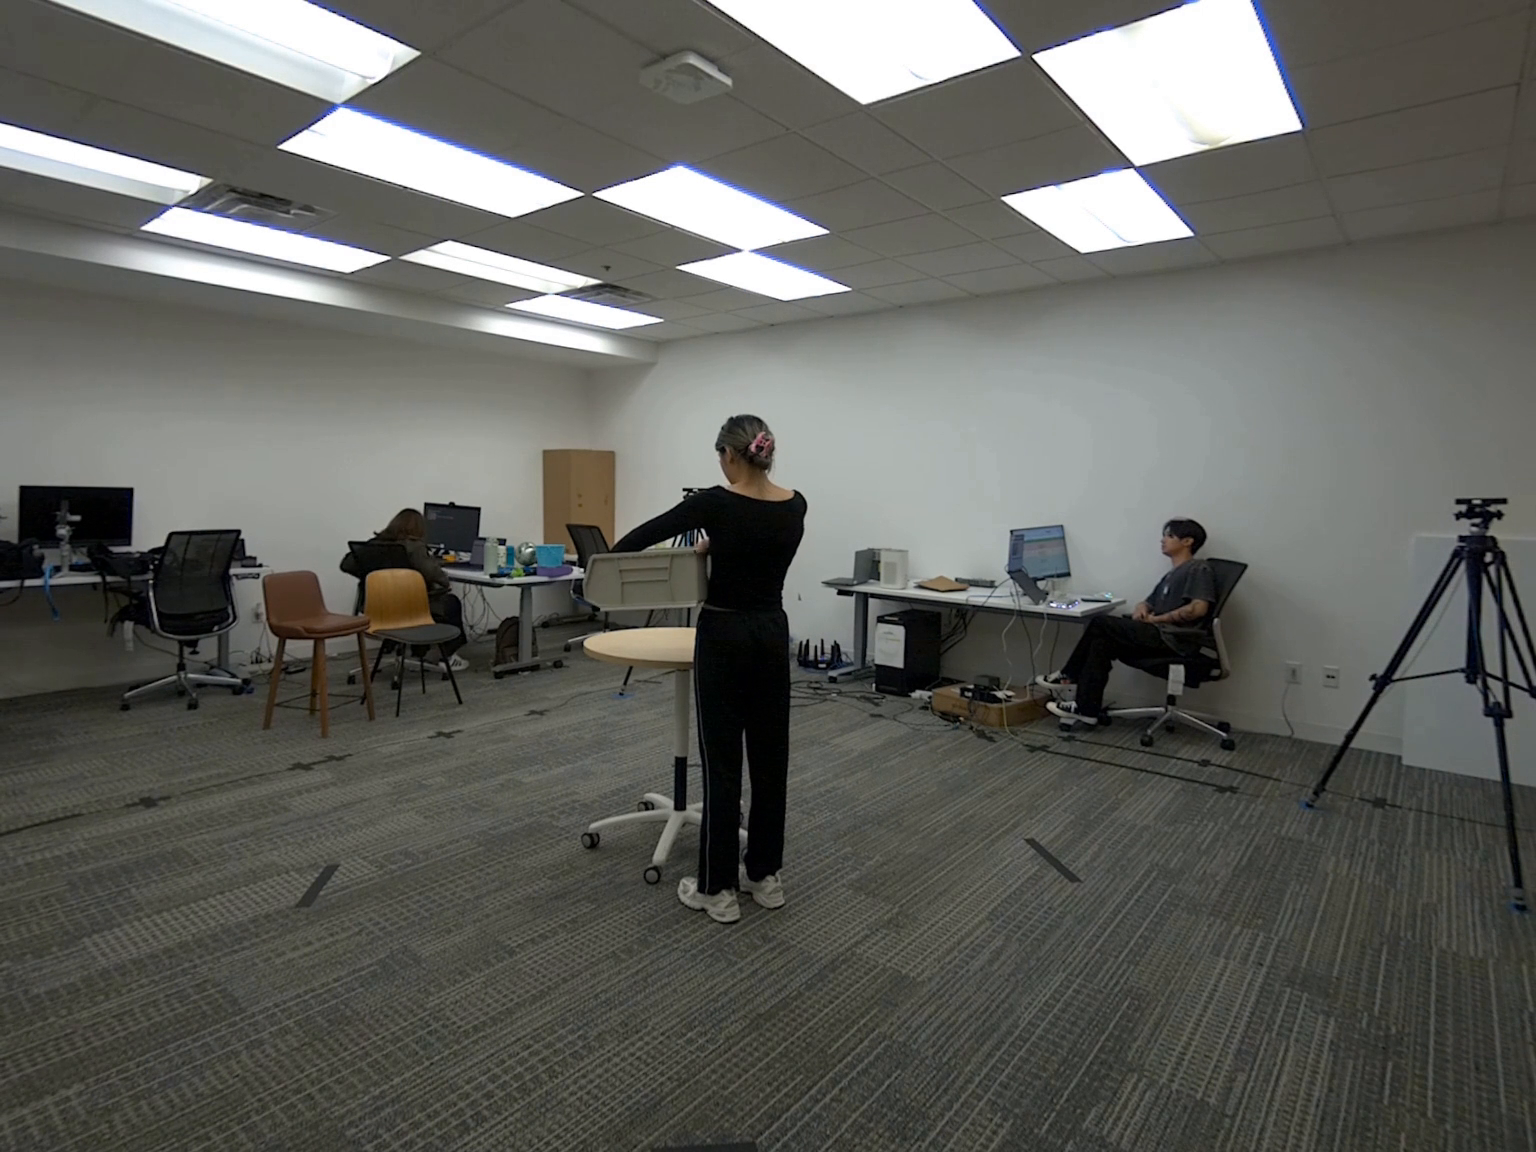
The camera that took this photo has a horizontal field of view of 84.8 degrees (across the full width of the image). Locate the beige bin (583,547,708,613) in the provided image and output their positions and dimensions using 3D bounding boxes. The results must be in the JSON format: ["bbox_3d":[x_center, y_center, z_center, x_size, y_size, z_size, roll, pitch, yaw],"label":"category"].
[{"bbox_3d":[-0.381,0.001,2.847,0.381,0.188,0.419,-2,3,10],"label":"beige bin"}]
